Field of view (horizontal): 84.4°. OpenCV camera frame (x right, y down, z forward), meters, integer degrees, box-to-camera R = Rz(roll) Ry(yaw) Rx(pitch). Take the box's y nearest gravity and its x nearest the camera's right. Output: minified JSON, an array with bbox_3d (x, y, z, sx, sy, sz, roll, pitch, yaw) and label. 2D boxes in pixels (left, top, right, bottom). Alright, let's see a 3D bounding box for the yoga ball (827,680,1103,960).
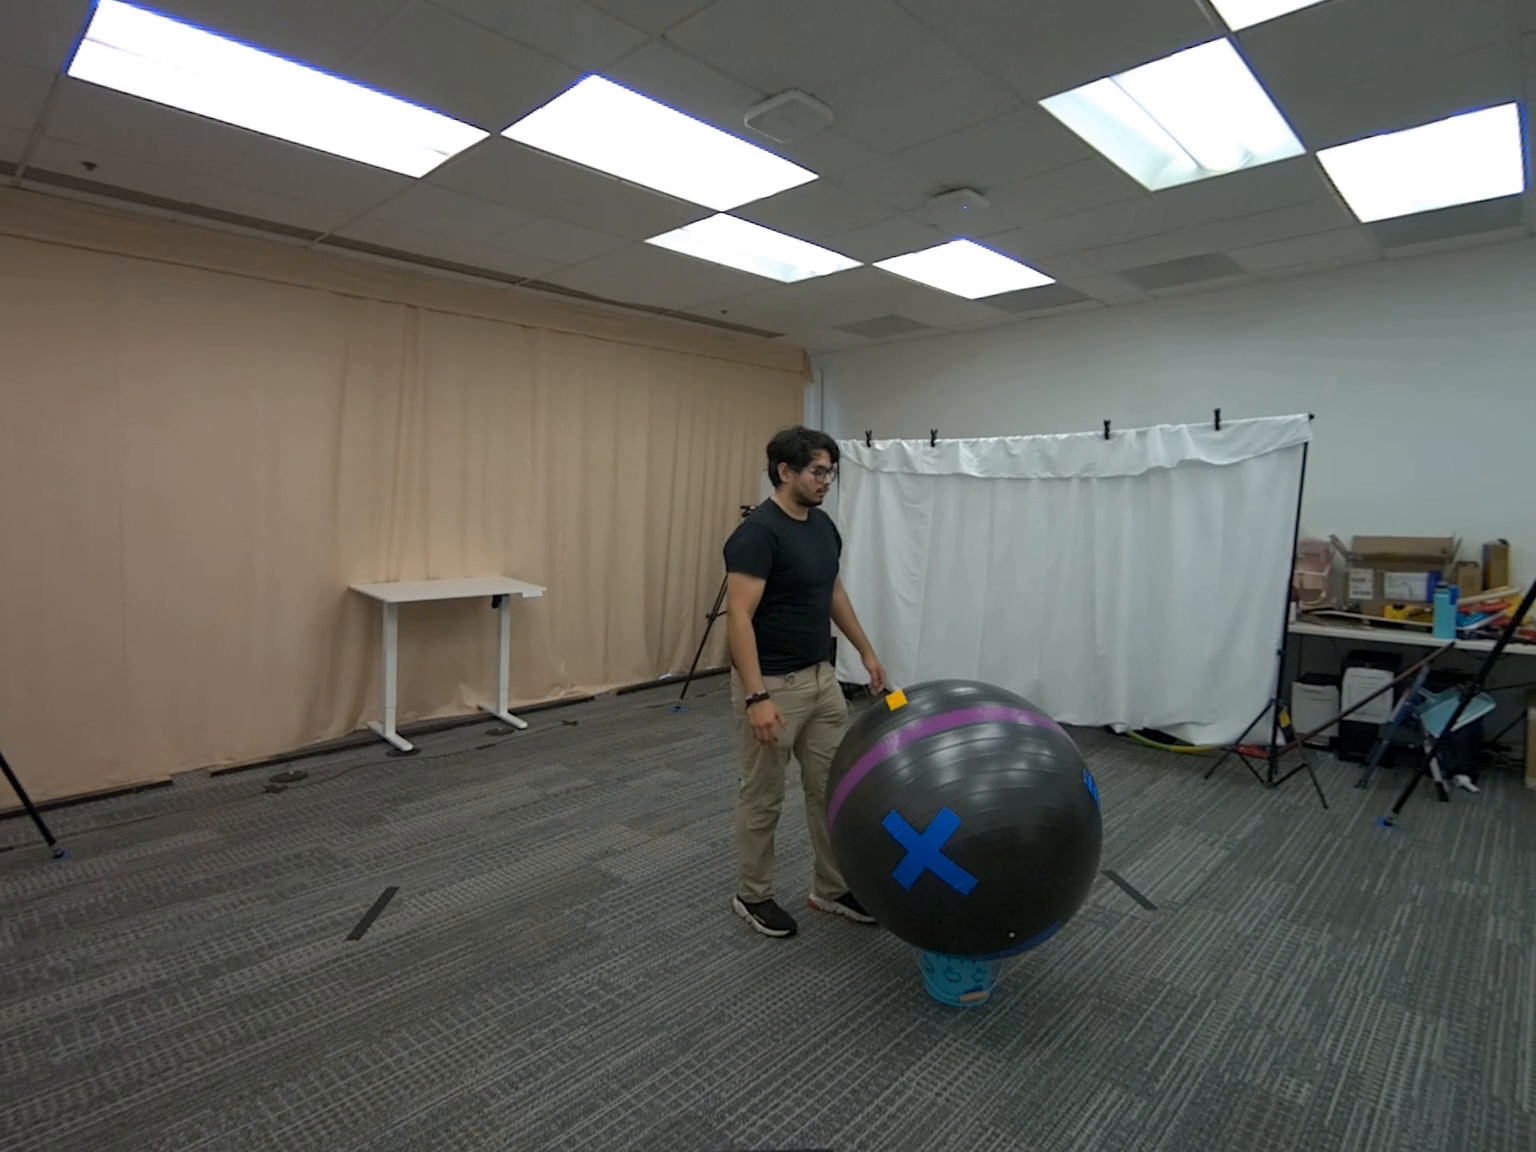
[{"bbox_3d":[0.548,0.682,2.406,0.757,0.756,0.760,0,4,-2],"label":"yoga ball"}]
